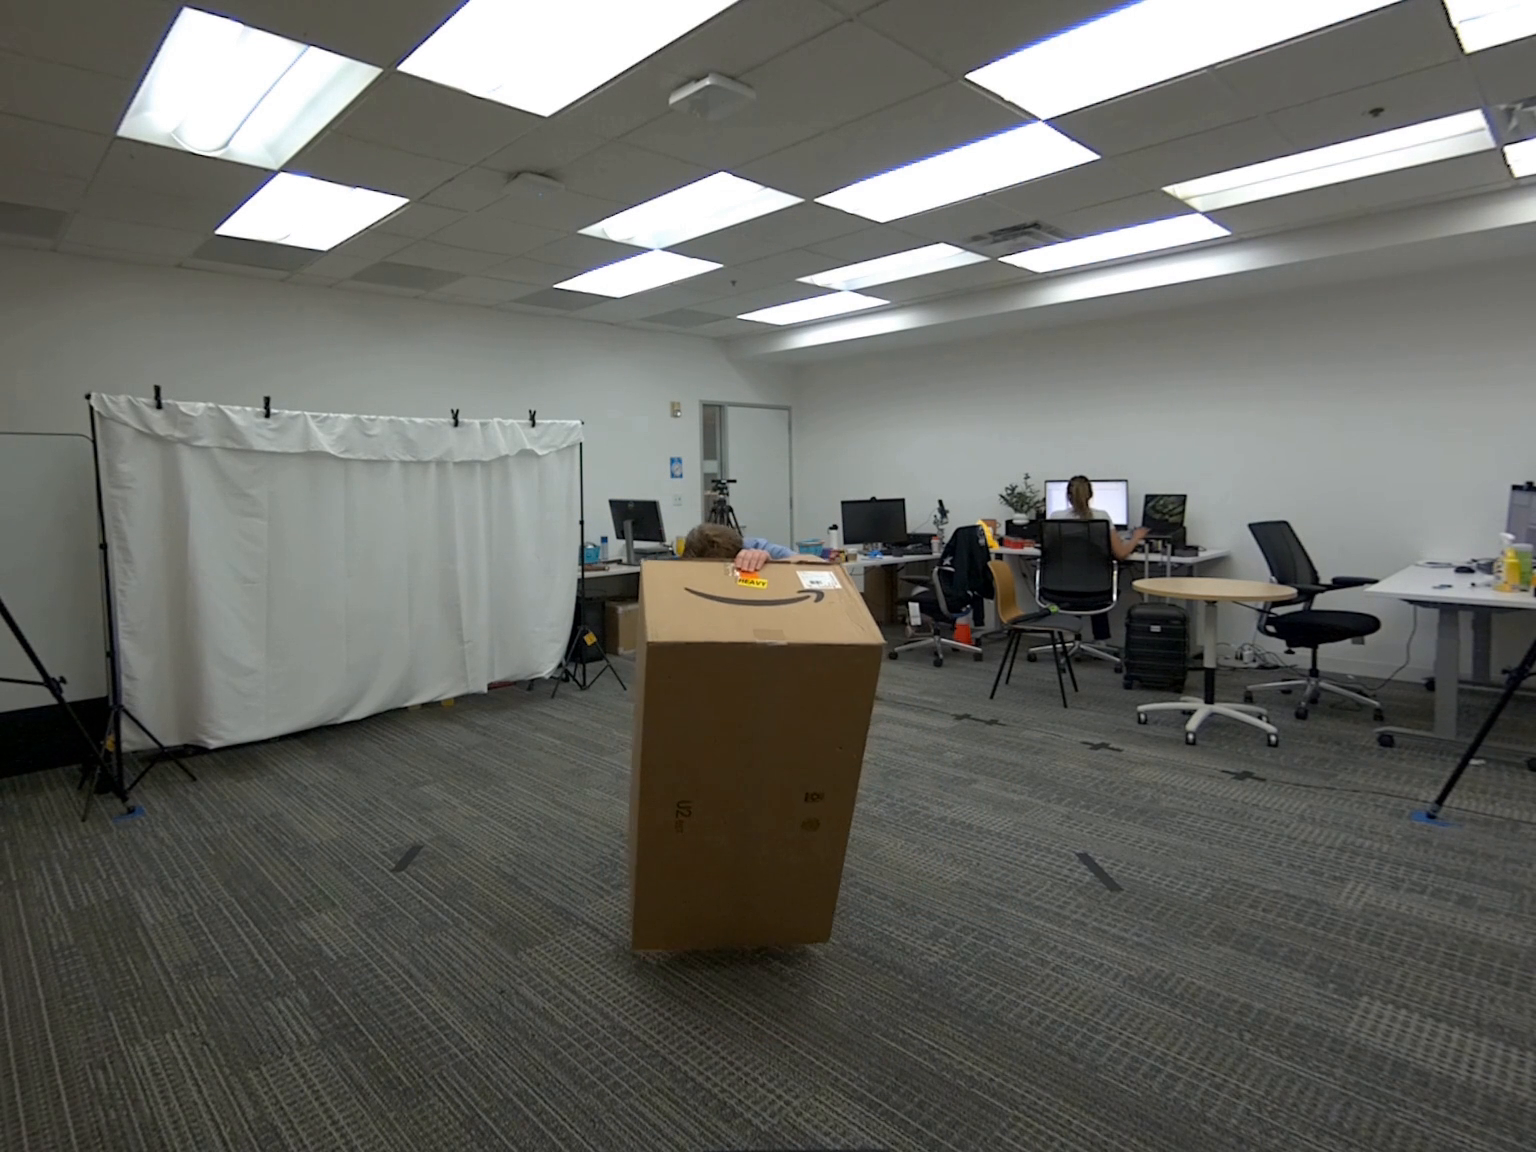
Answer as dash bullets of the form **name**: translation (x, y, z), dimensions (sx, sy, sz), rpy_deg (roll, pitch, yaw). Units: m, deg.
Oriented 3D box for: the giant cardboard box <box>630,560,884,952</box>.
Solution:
- **giant cardboard box**: translation (-0.080, 0.508, 2.391), dimensions (0.579, 1.008, 0.459), rpy_deg (2, 26, -9)
